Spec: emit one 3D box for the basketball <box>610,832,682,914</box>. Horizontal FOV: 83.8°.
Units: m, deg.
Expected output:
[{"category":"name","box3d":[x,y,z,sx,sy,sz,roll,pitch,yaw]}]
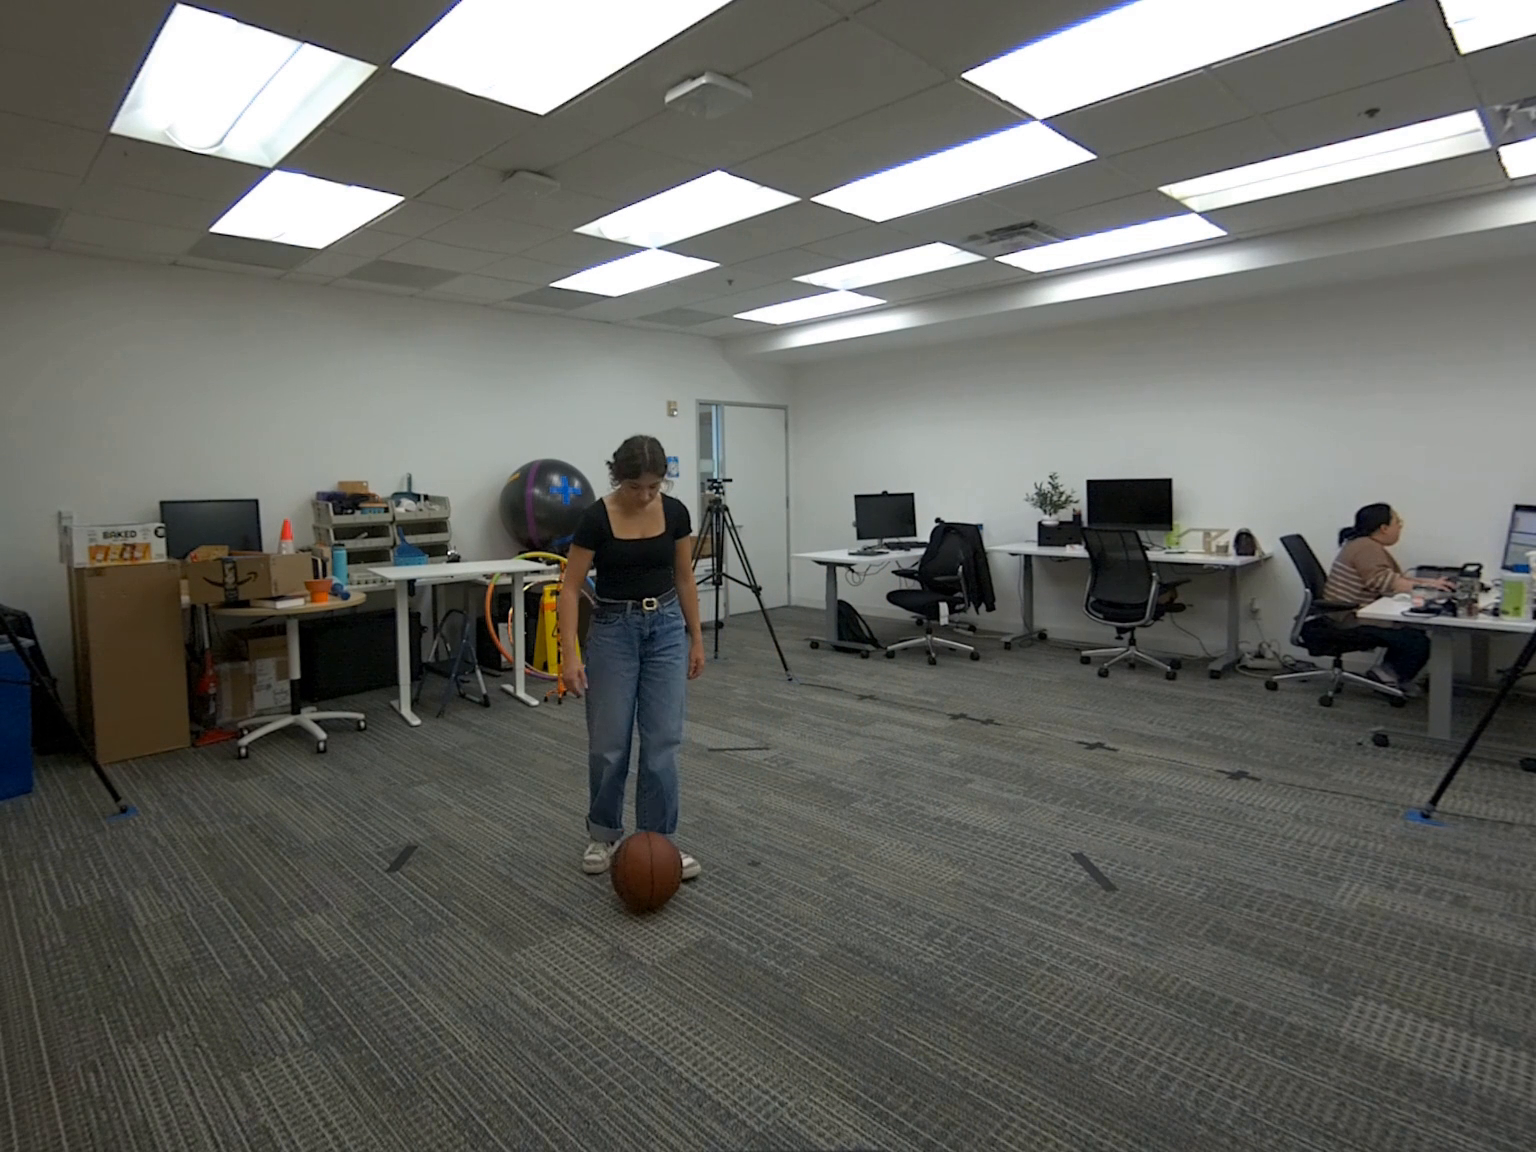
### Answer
[{"category":"basketball","box3d":[-0.399,0.967,2.809,0.236,0.235,0.237,-1,5,-2]}]
